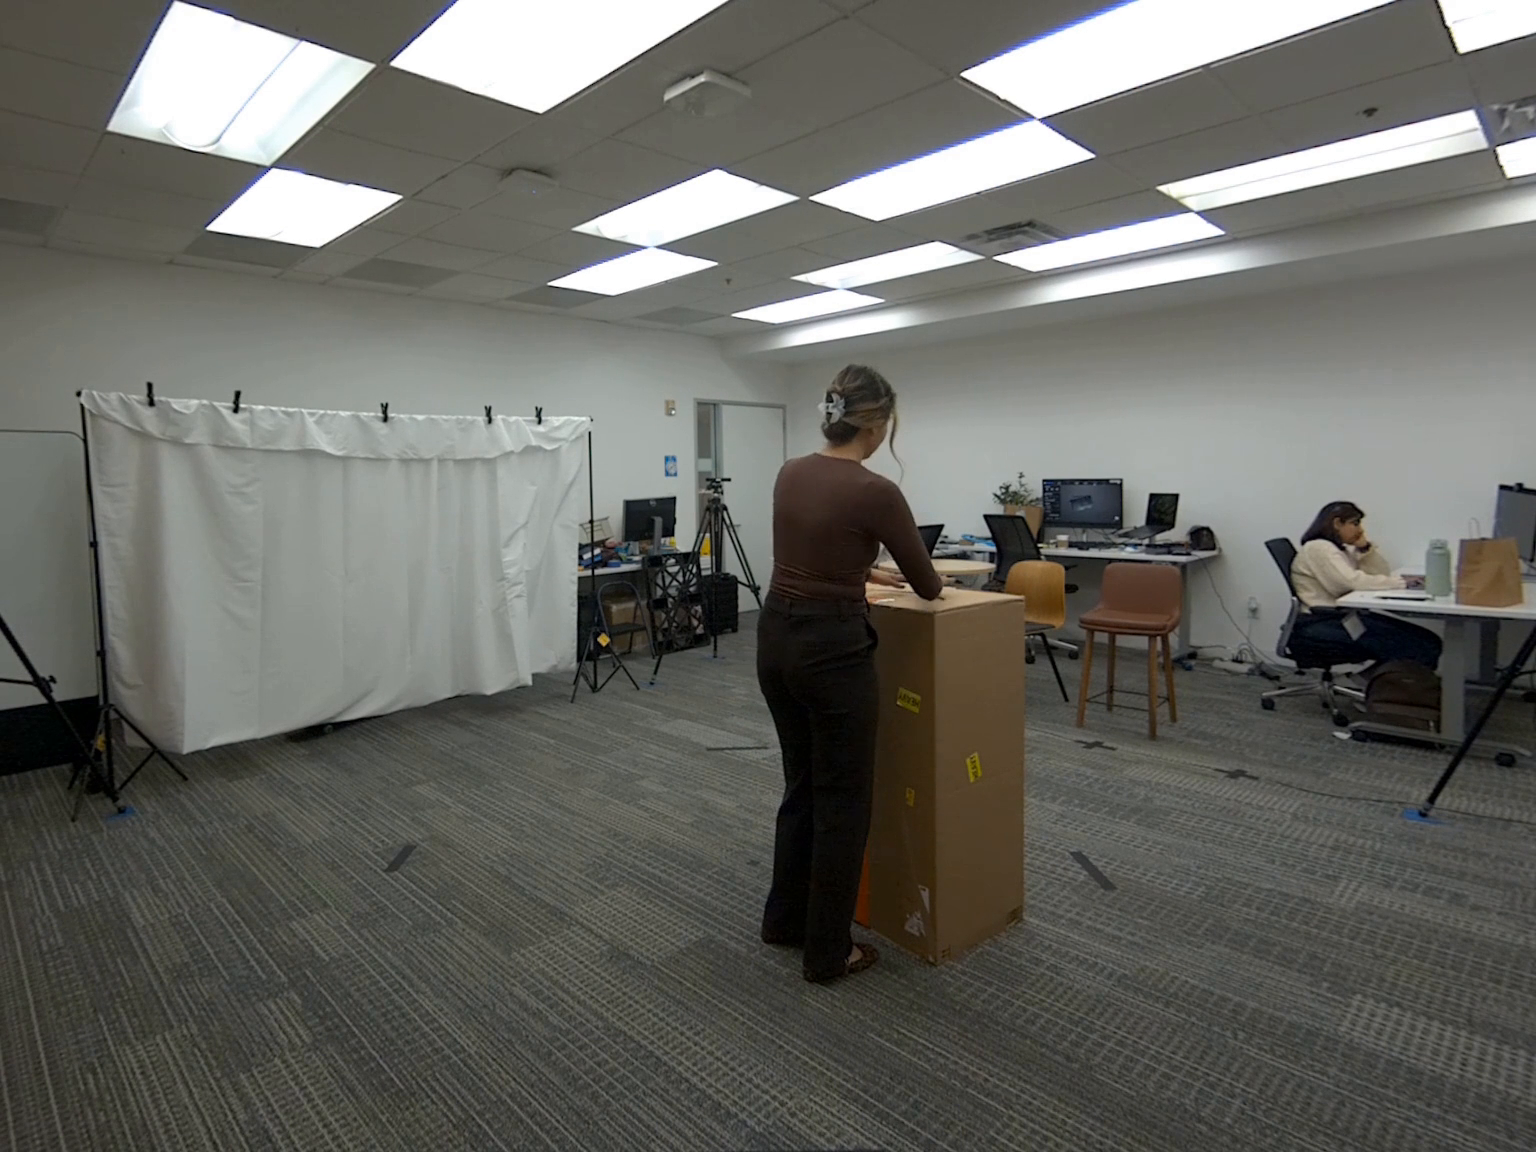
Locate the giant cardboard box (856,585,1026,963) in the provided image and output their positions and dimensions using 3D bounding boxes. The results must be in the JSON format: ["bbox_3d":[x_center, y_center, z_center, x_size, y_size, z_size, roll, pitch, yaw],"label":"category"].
[{"bbox_3d":[0.454,0.561,2.751,0.435,1.023,0.601,-5,6,-36],"label":"giant cardboard box"}]
